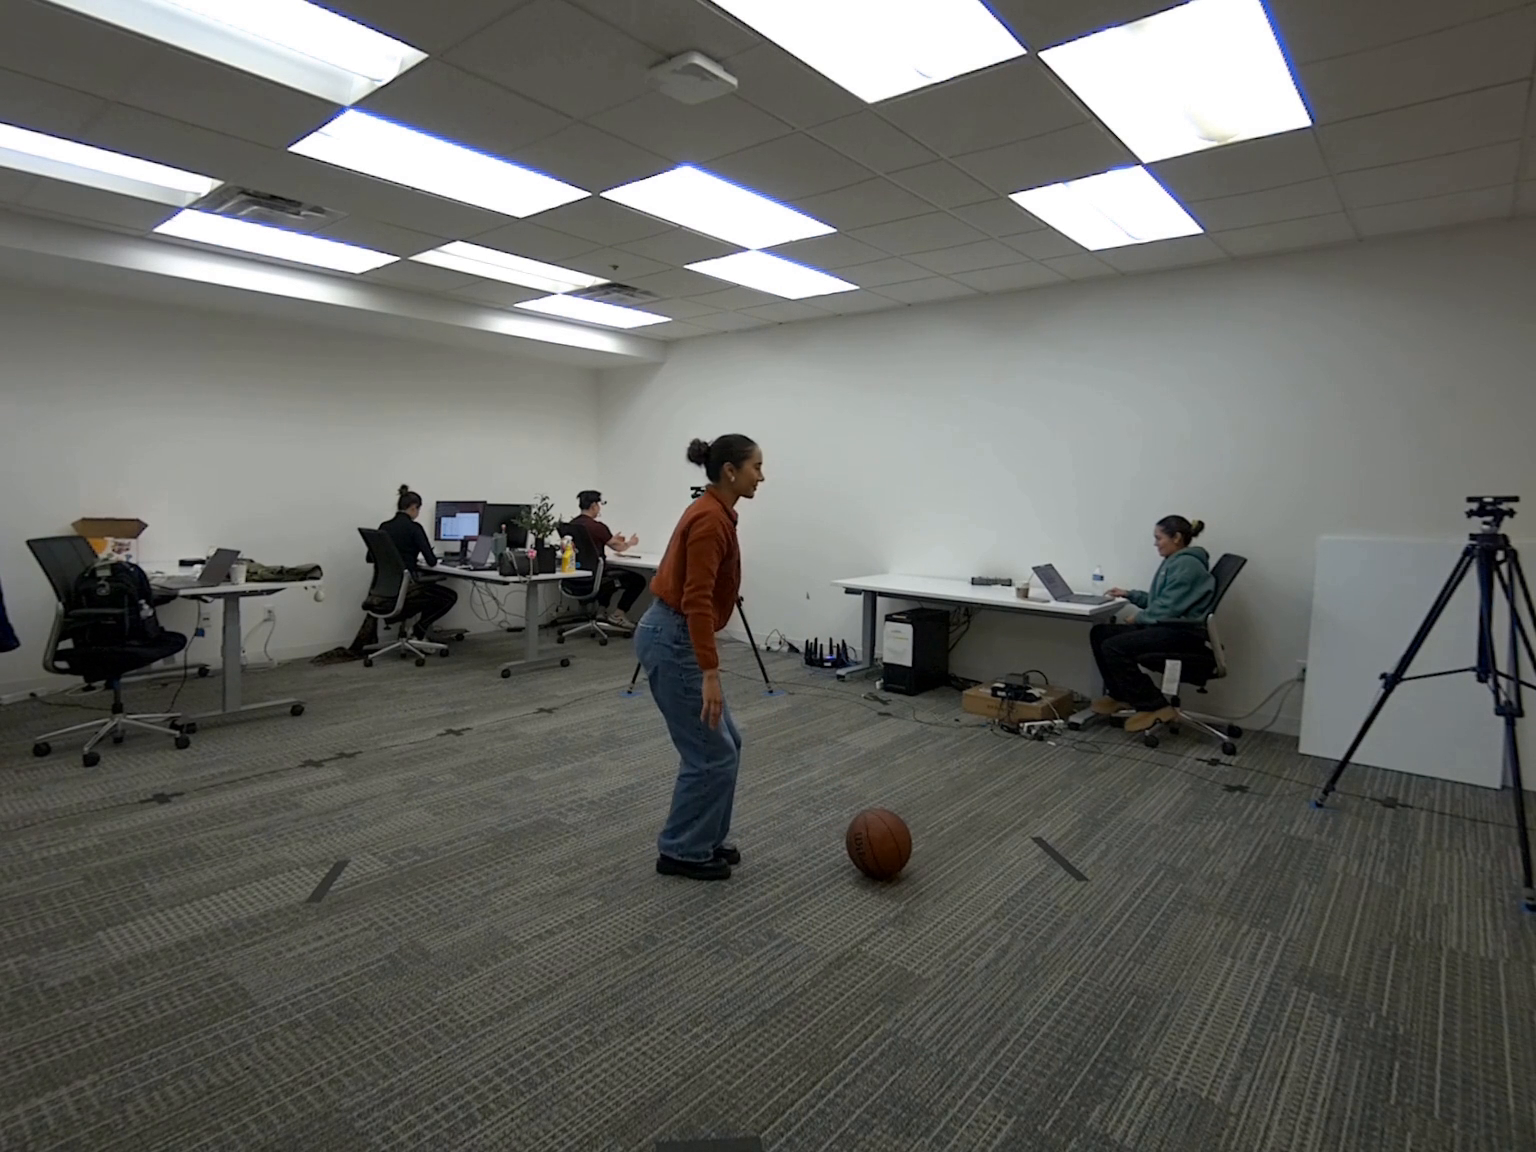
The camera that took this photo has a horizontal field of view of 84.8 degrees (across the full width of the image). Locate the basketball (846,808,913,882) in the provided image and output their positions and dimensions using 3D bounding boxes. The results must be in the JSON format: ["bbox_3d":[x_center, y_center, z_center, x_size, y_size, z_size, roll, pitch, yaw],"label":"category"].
[{"bbox_3d":[0.392,0.961,3.079,0.236,0.235,0.237,1,4,-2],"label":"basketball"}]
